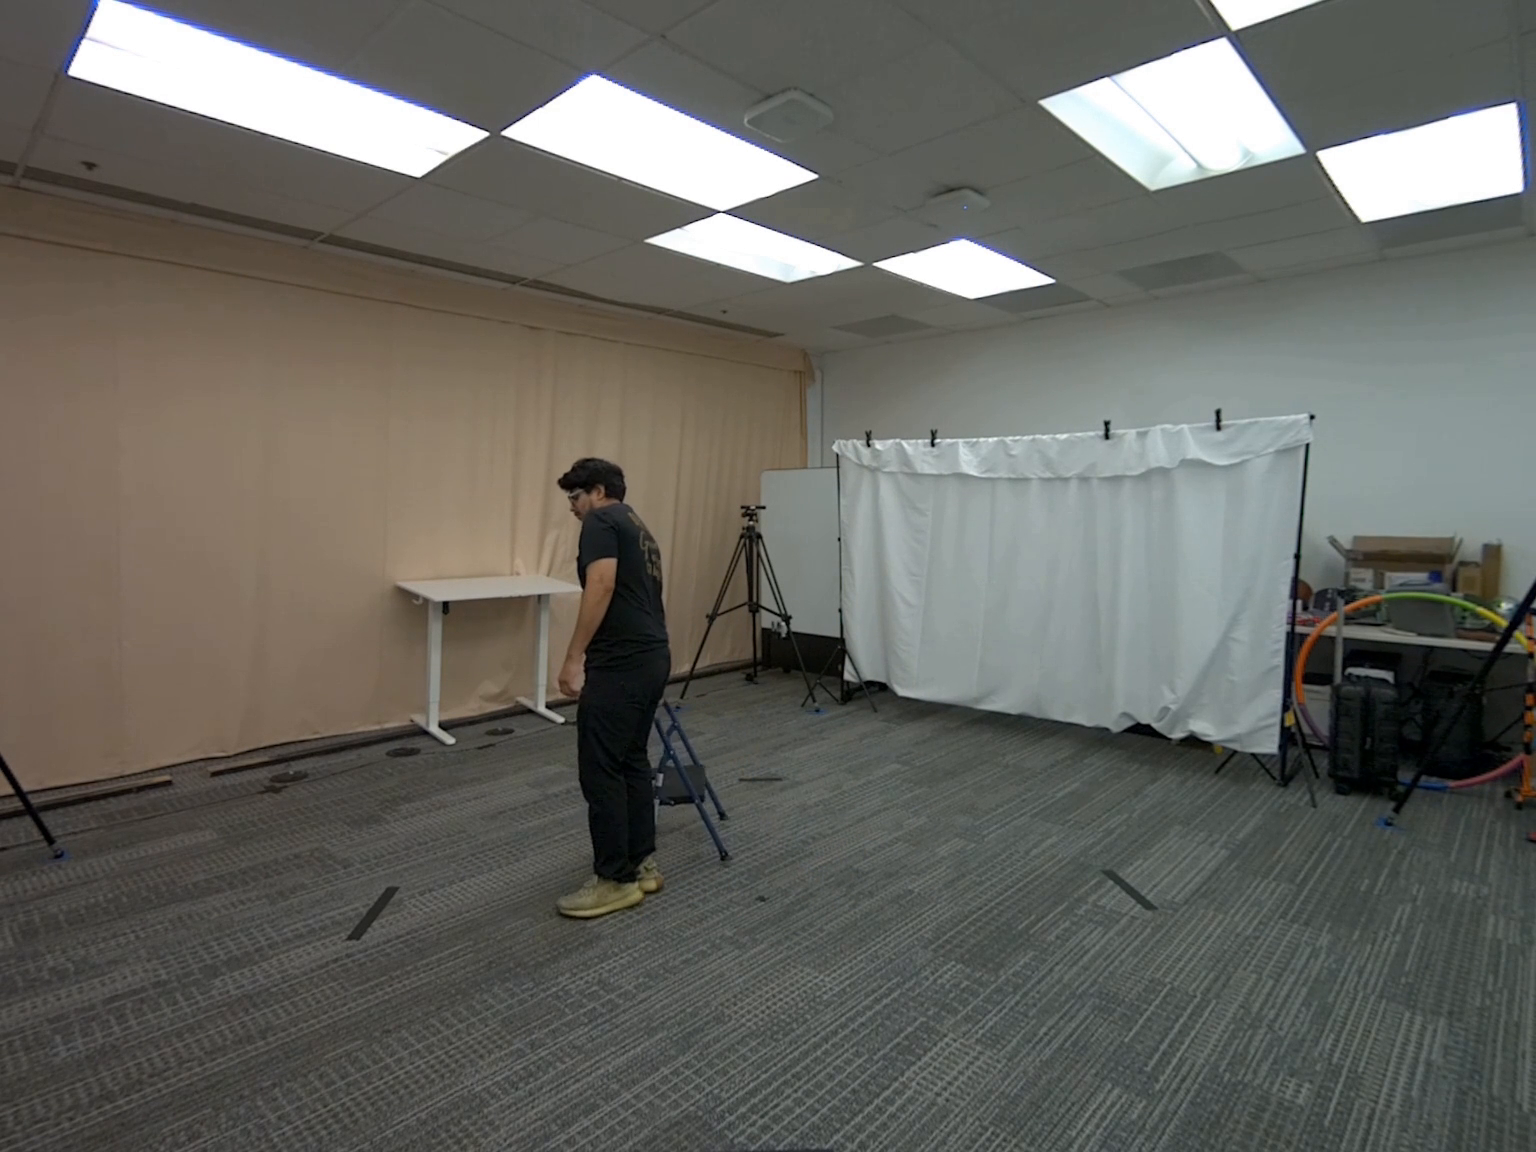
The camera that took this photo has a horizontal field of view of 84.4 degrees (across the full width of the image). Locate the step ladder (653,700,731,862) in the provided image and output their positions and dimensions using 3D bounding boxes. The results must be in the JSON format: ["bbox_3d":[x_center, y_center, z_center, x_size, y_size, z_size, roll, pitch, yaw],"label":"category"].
[{"bbox_3d":[-0.364,0.793,3.433,0.348,0.604,0.433,-5,5,-3],"label":"step ladder"}]
